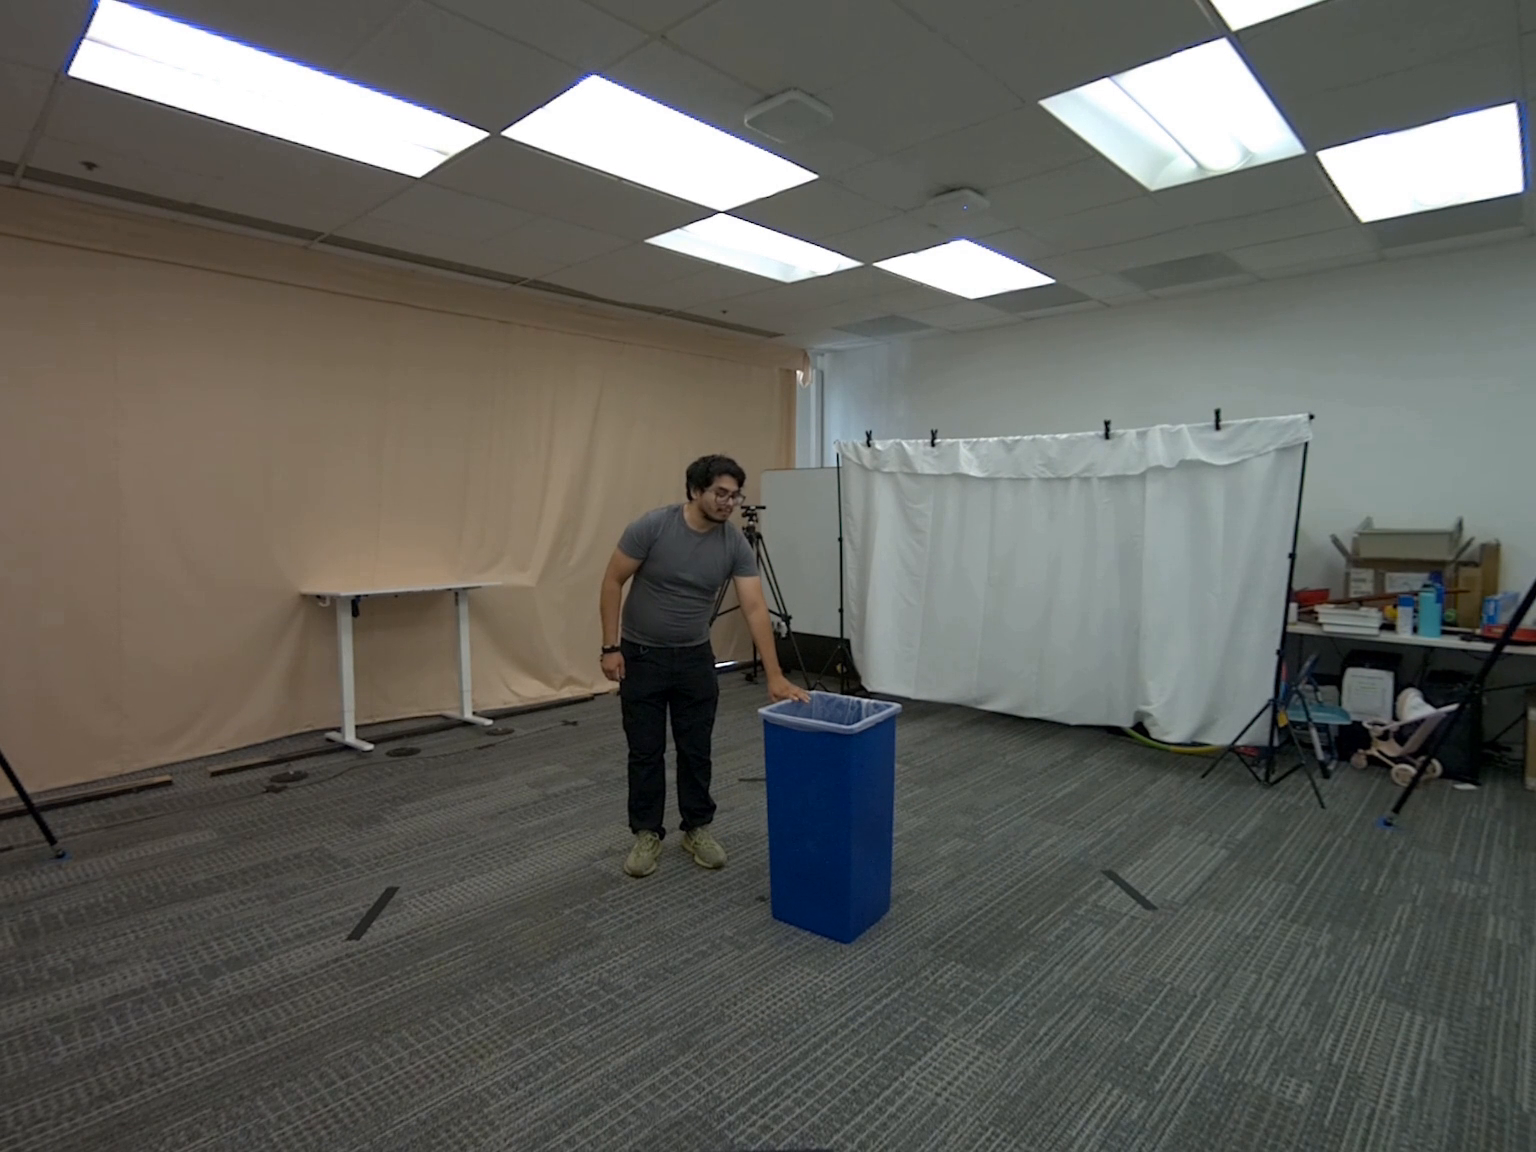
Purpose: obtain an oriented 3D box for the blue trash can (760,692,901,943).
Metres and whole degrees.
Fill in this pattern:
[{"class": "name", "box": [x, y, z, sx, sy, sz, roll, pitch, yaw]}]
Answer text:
[{"class": "blue trash can", "box": [0.215, 0.796, 2.846, 0.390, 0.712, 0.363, 2, 4, 37]}]
